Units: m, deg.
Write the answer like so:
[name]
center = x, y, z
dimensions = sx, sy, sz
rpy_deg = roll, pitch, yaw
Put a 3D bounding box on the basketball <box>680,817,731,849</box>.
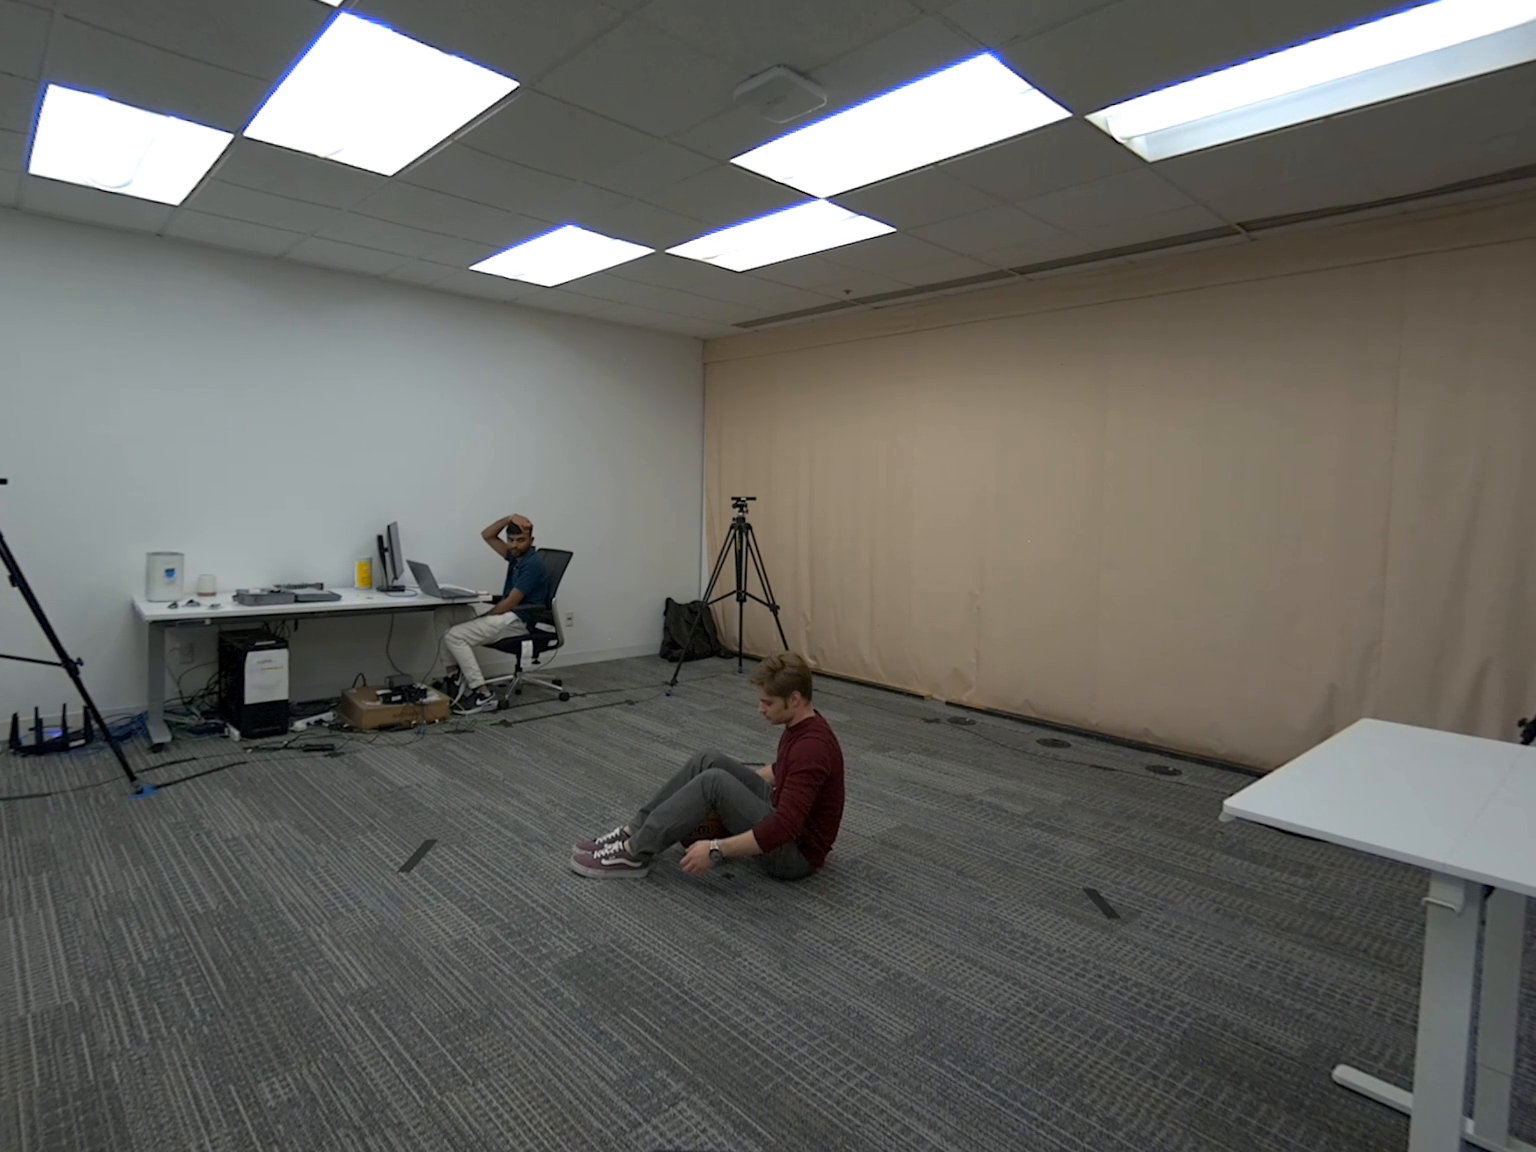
[basketball]
center = -0.244, 0.966, 3.300
dimensions = 0.236, 0.235, 0.237
rpy_deg = 1, 4, -1
